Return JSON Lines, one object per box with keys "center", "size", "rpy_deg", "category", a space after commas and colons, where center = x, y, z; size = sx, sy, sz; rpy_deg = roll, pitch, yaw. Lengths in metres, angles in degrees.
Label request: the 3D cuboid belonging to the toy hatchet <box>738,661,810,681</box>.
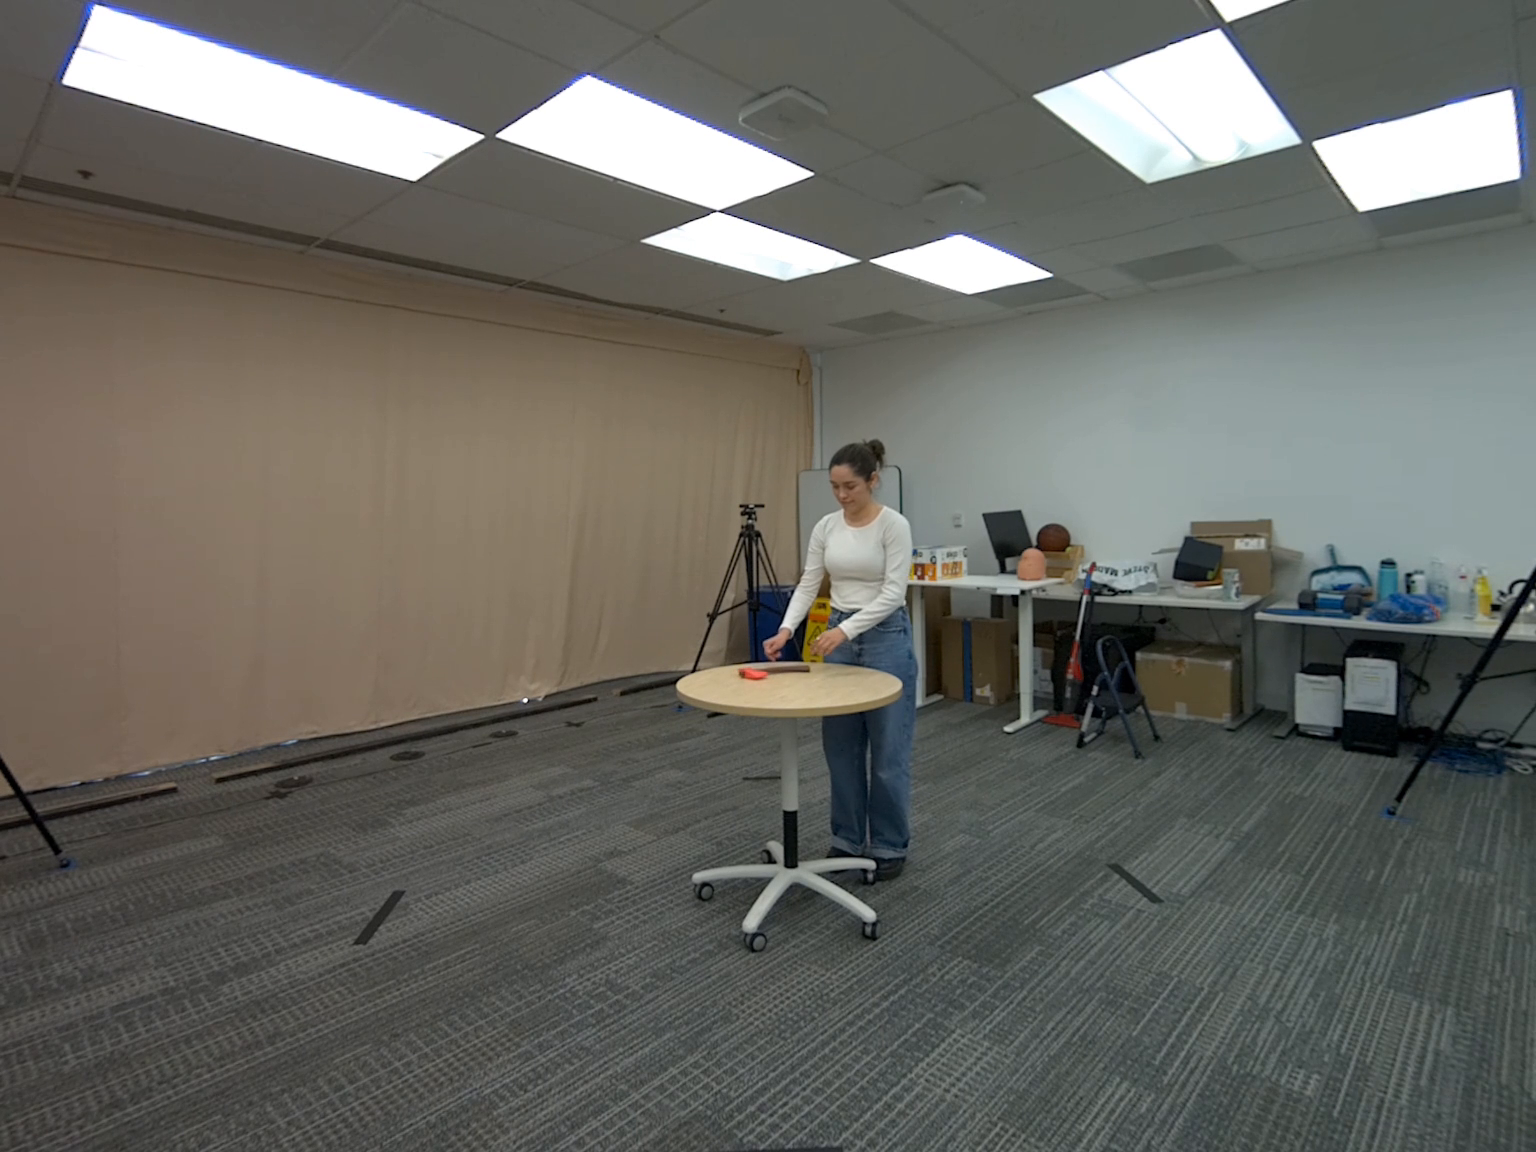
{"center": [0.035, 0.345, 3.000], "size": [0.268, 0.029, 0.132], "rpy_deg": [-1, 5, -8], "category": "toy hatchet"}
